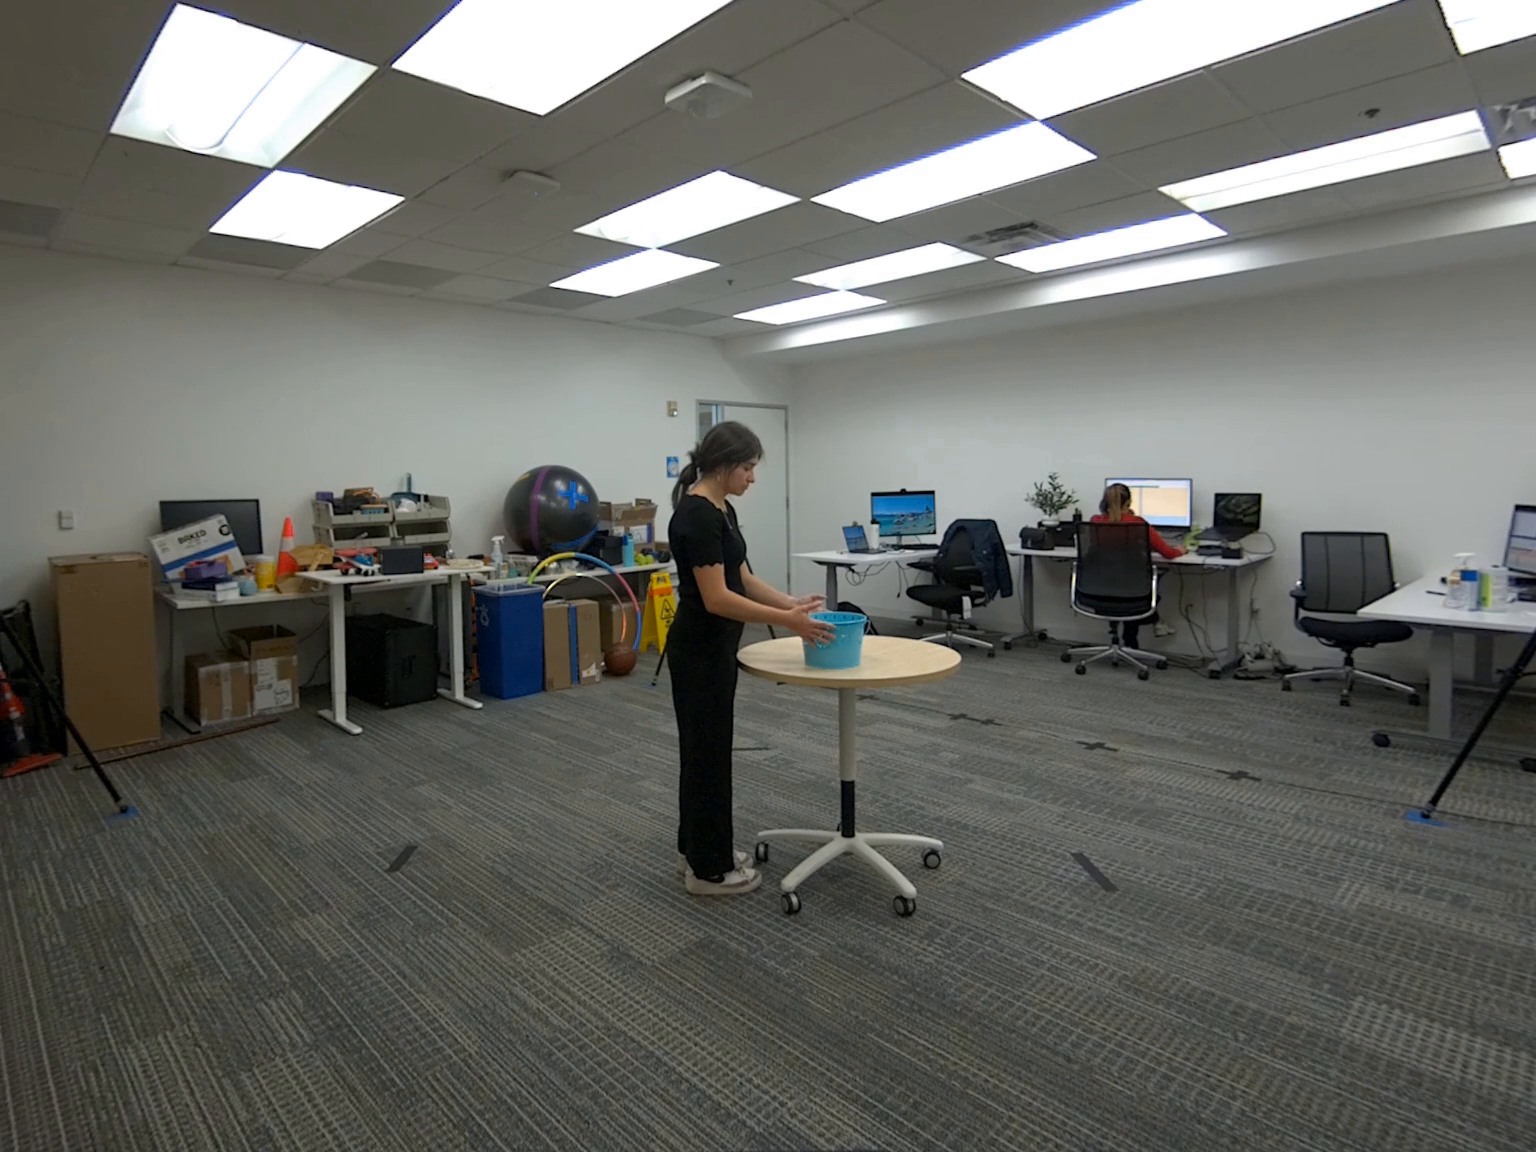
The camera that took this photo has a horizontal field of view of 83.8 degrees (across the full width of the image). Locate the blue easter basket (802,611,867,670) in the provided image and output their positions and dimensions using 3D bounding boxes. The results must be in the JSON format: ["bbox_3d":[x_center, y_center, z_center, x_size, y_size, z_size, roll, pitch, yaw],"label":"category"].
[{"bbox_3d":[0.219,0.210,2.824,0.243,0.155,0.245,-1,7,-2],"label":"blue easter basket"}]
